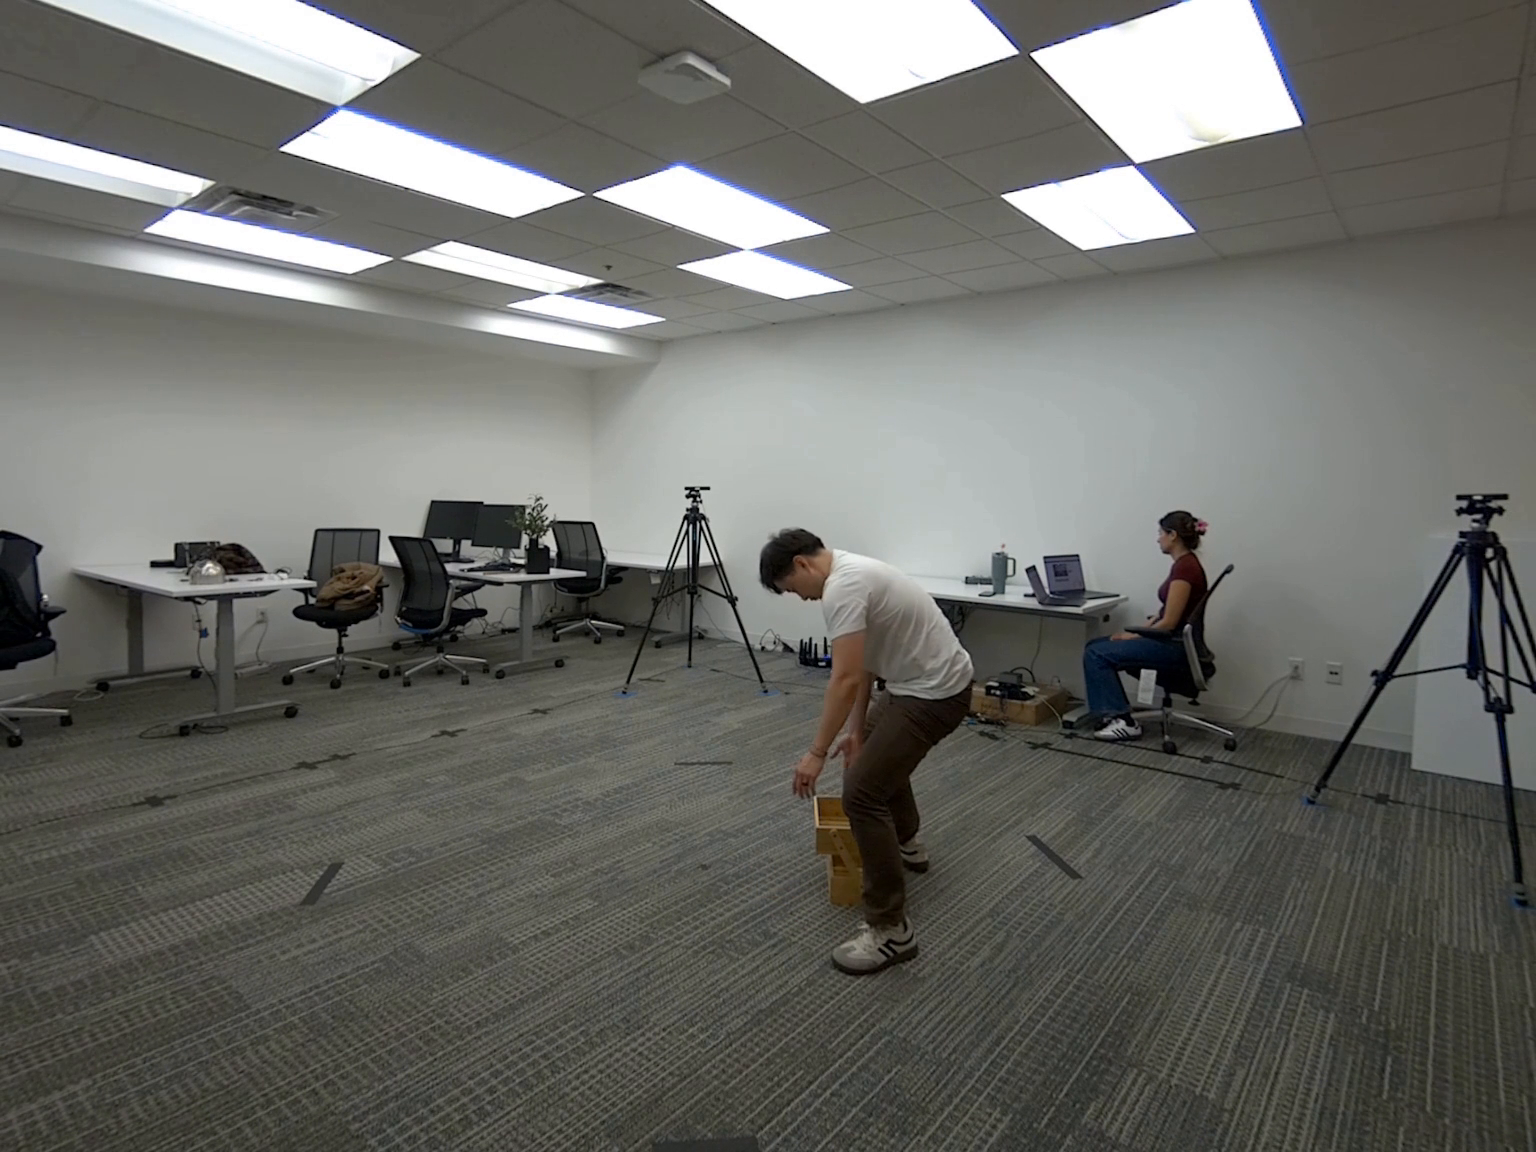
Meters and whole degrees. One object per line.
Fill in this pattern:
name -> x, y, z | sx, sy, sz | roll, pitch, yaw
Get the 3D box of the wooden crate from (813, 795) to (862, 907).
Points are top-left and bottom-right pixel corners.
wooden crate -> 0.314, 0.954, 2.993 | 0.303, 0.272, 0.324 | 1, 5, 3
